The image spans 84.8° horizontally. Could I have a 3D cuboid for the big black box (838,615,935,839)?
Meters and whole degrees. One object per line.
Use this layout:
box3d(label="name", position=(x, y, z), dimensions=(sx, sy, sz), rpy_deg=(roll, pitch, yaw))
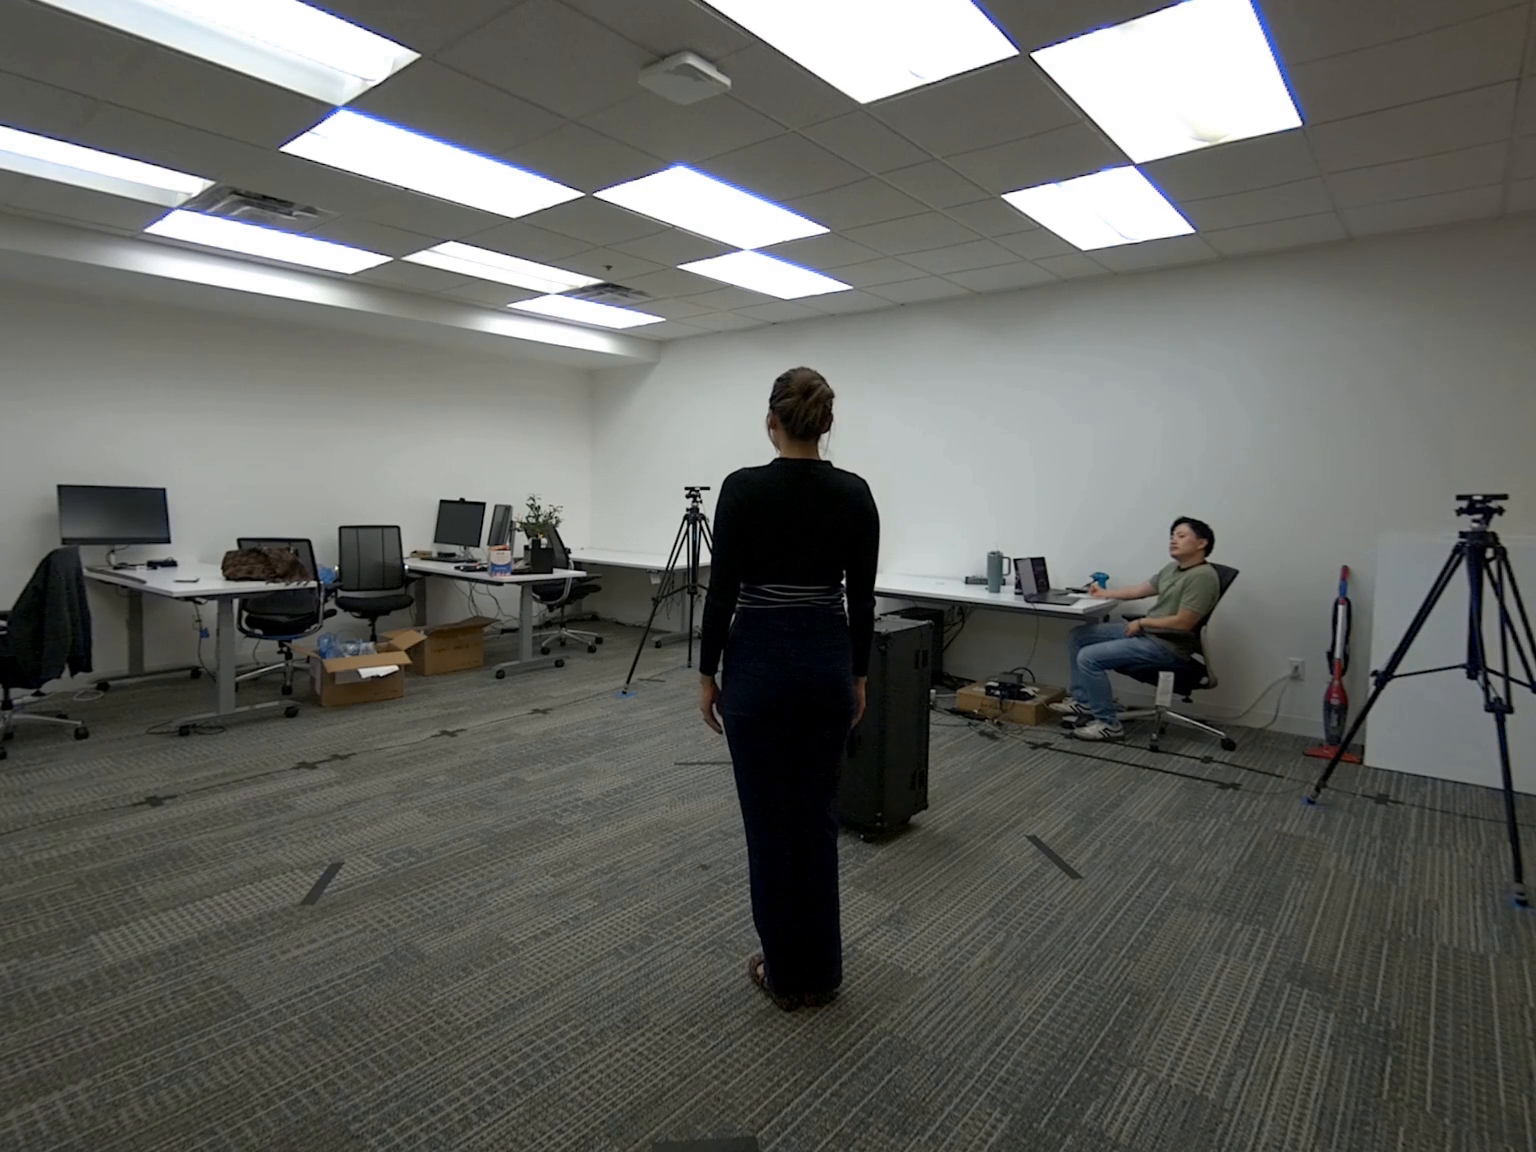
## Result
box3d(label="big black box", position=(0.366, 0.604, 3.550), dimensions=(0.539, 0.858, 0.384), rpy_deg=(4, 5, 41))
